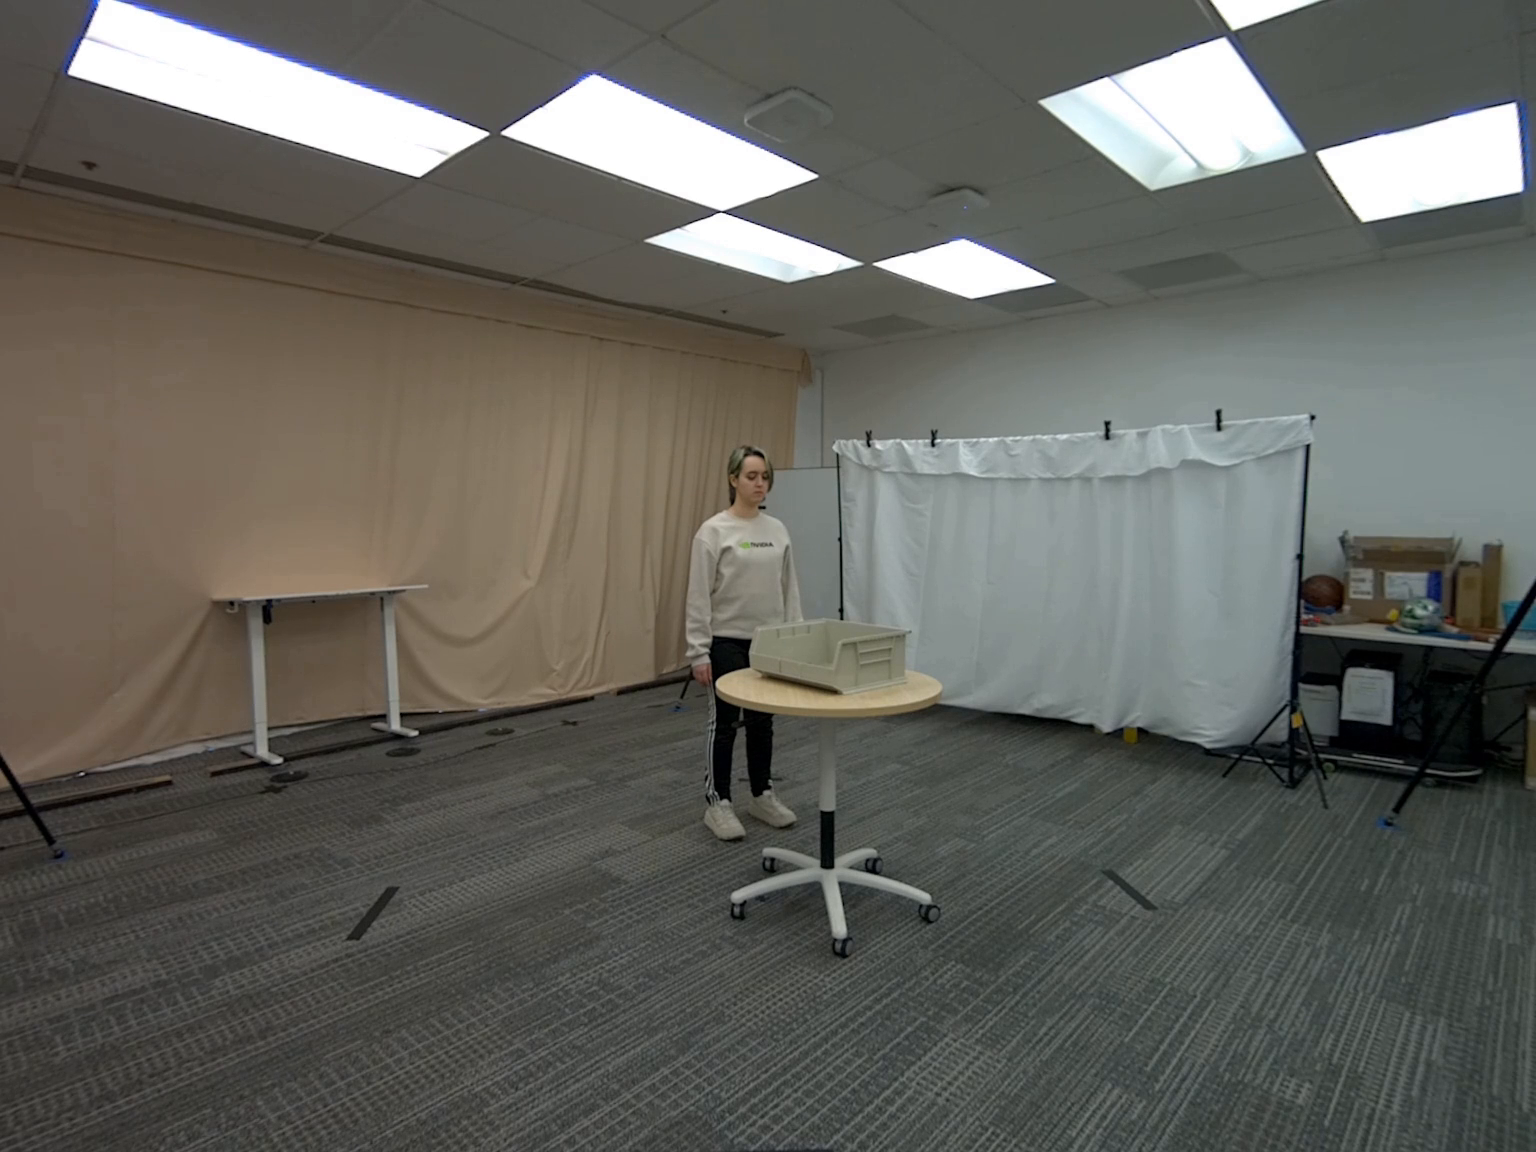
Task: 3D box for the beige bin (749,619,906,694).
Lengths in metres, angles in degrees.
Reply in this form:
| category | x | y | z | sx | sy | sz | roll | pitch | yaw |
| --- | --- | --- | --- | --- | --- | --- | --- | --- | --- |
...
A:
| category | x | y | z | sx | sy | sz | roll | pitch | yaw |
| --- | --- | --- | --- | --- | --- | --- | --- | --- | --- |
| beige bin | 0.215 | 0.275 | 2.927 | 0.366 | 0.189 | 0.436 | -2 | 4 | -40 |
